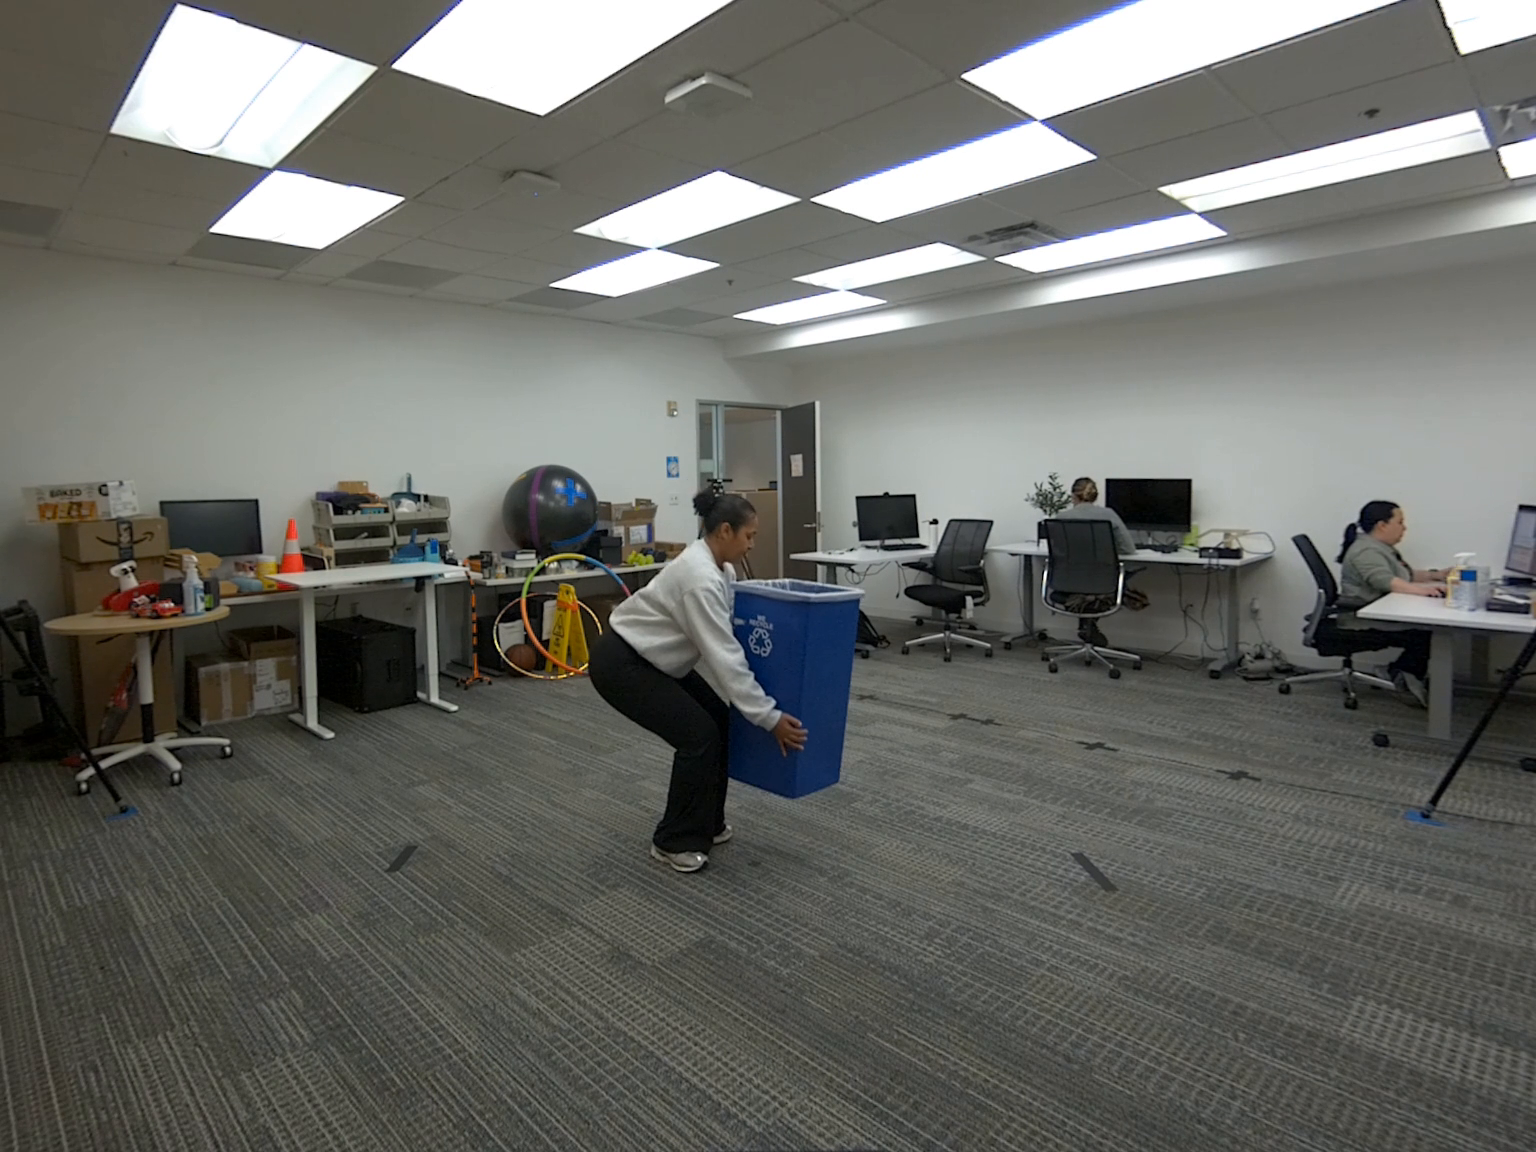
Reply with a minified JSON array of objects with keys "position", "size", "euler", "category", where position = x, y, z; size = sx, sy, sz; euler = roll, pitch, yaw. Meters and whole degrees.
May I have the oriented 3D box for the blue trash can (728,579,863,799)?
[{"position":[0.084,0.392,3.106],"size":[0.390,0.712,0.363],"euler":[7,4,38],"category":"blue trash can"}]
